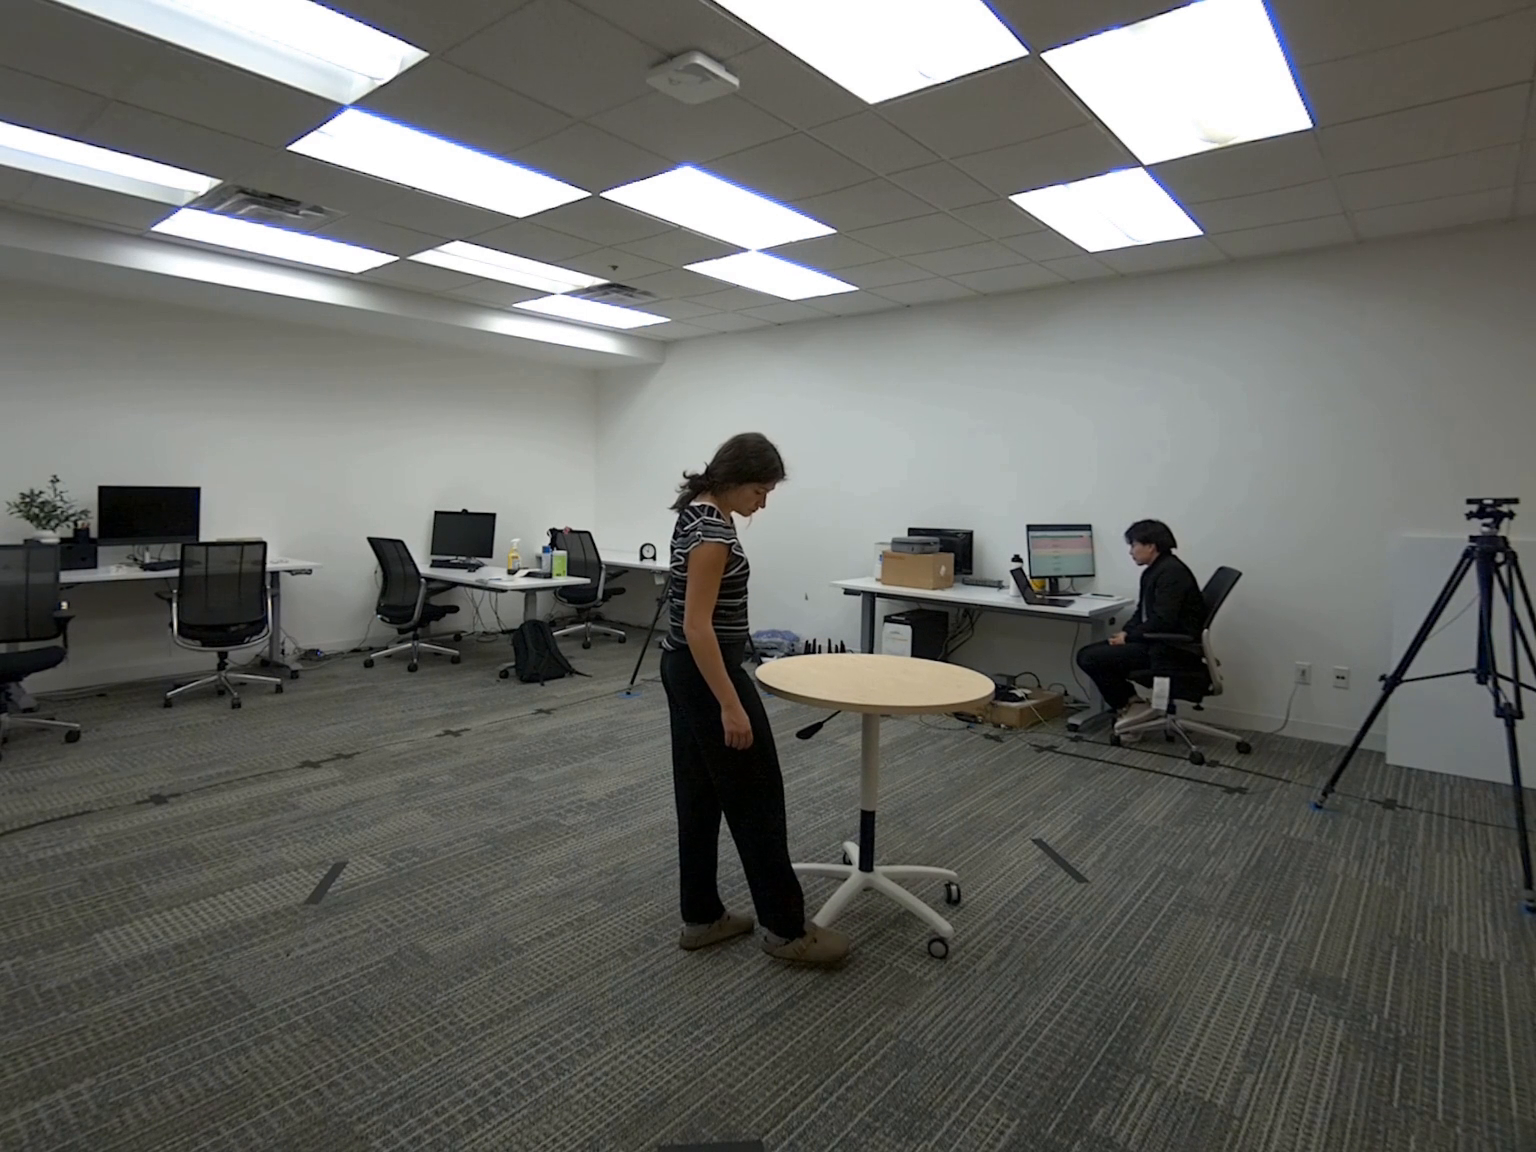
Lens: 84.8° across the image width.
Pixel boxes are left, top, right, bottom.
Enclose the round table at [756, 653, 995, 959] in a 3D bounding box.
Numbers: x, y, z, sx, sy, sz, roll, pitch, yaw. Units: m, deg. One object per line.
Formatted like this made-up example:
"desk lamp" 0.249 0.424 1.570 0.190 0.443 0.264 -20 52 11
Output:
"round table" 0.337 0.713 2.809 0.784 0.784 0.789 1 4 -2
